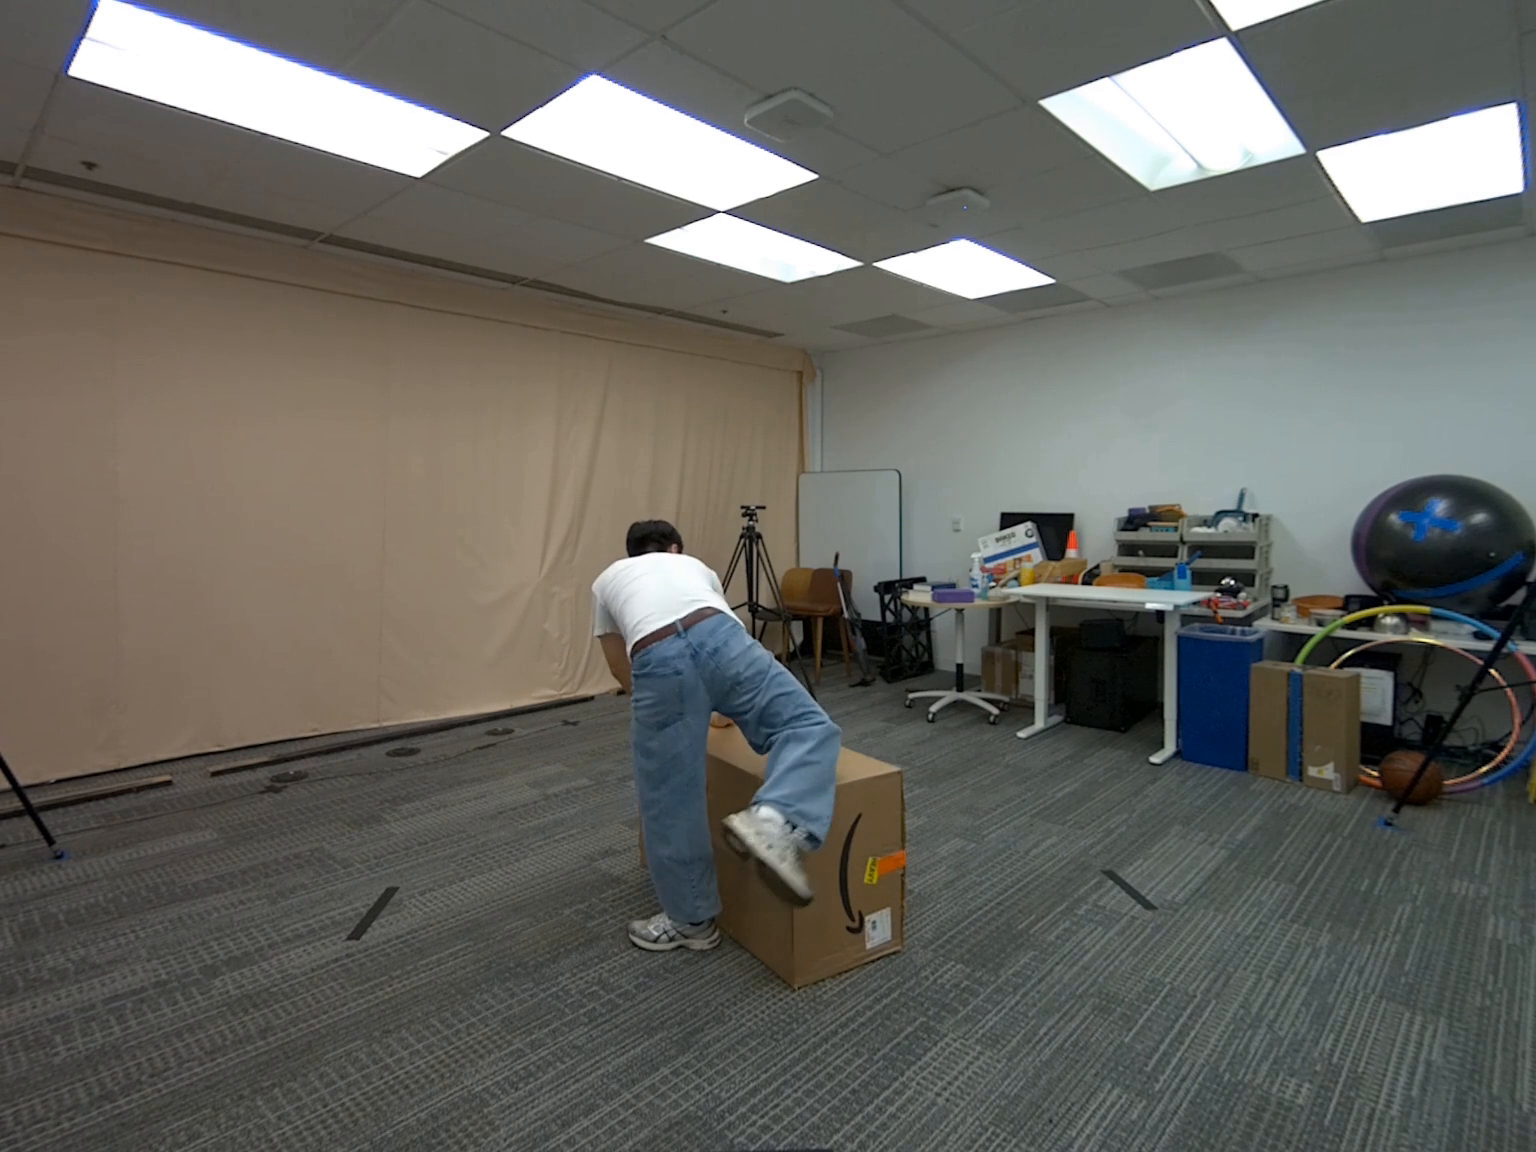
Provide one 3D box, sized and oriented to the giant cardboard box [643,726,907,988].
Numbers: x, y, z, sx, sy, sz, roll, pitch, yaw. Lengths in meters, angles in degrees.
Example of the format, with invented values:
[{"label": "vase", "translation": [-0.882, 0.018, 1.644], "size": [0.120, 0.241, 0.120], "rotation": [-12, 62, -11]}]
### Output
[{"label": "giant cardboard box", "translation": [-0.032, 0.862, 2.944], "size": [0.414, 0.576, 1.057], "rotation": [-3, 5, -32]}]
